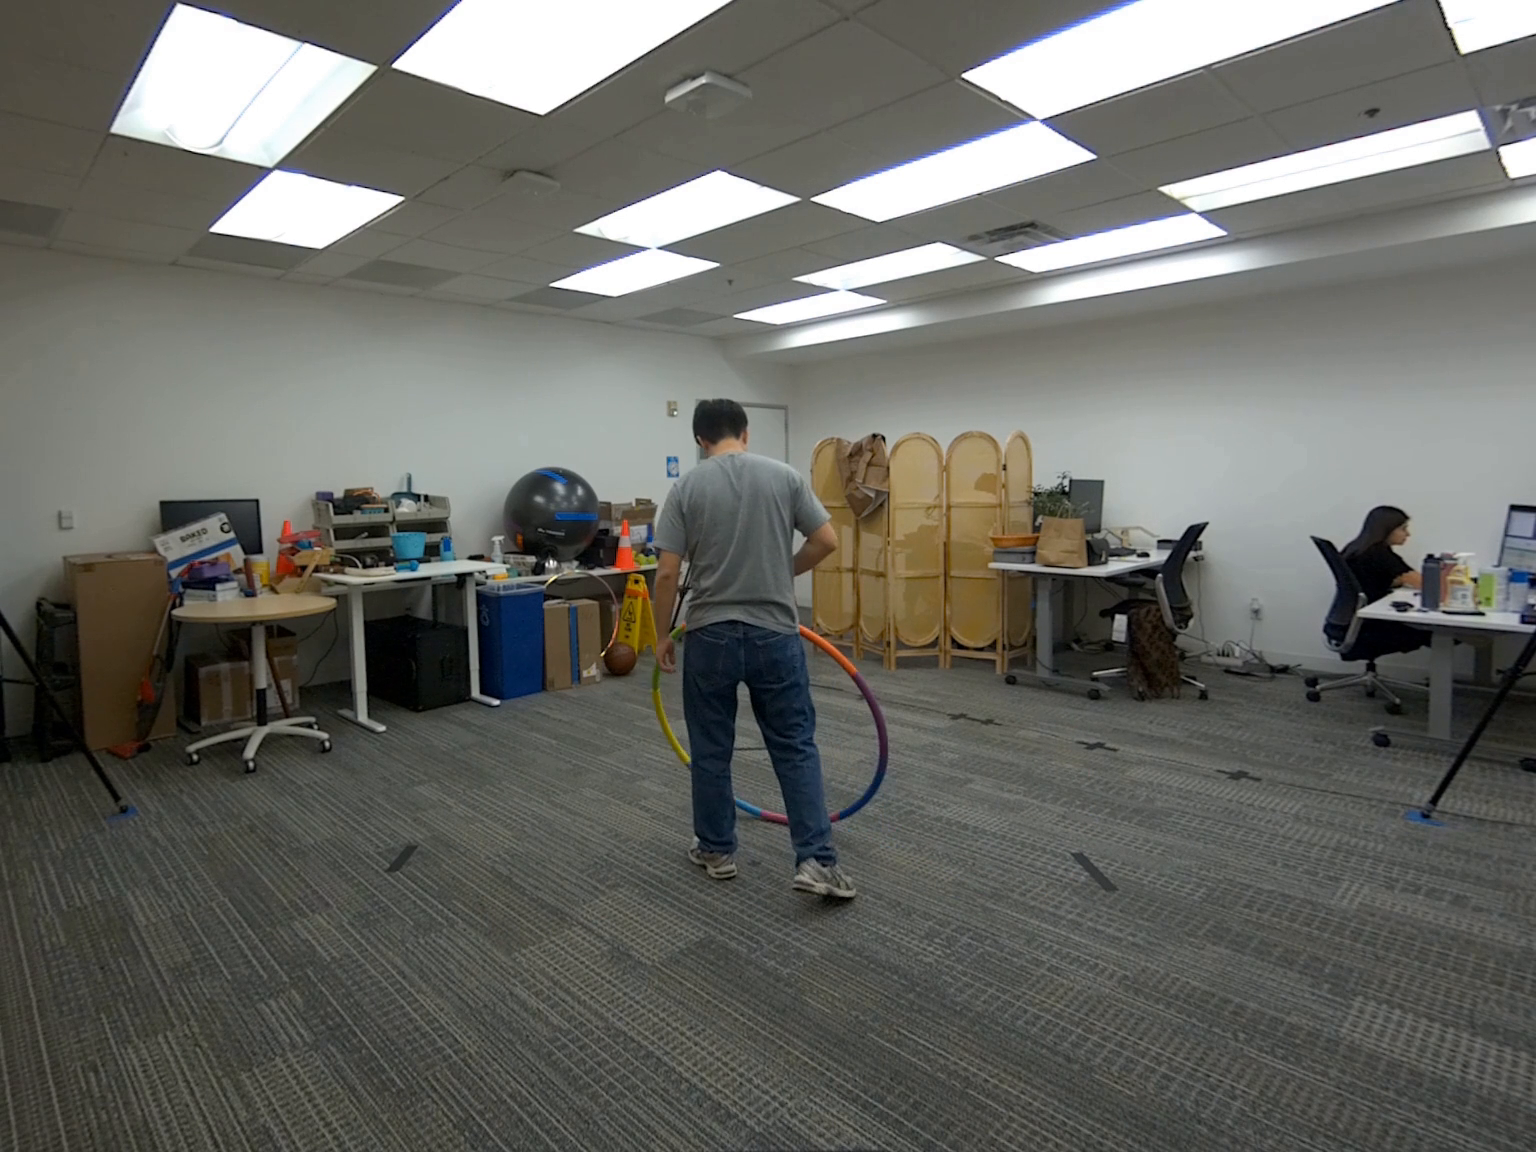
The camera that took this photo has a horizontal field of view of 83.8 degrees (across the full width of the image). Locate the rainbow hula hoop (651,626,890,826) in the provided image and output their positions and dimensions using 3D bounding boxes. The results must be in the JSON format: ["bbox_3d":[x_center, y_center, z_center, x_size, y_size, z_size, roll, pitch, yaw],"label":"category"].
[{"bbox_3d":[-0.015,0.565,3.296,1.003,0.957,0.035,2,25,28],"label":"rainbow hula hoop"}]
